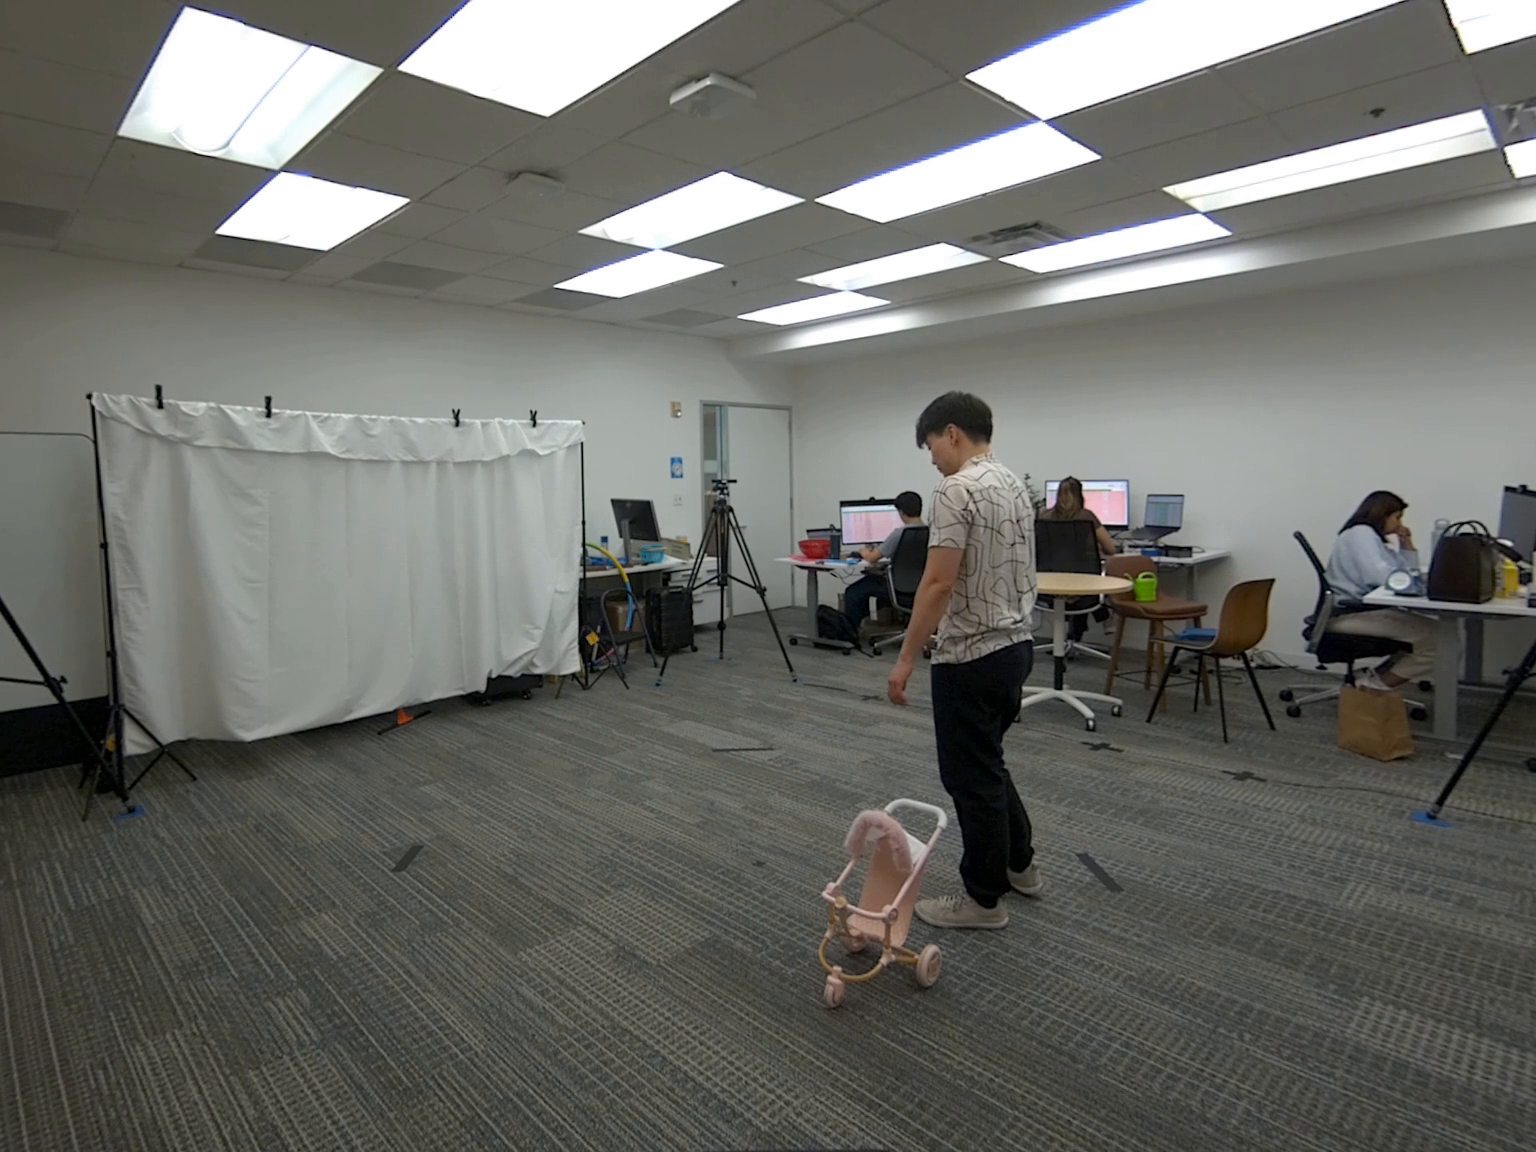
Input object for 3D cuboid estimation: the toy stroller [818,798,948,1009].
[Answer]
[{"bbox_3d":[0.308,0.900,2.381,0.329,0.538,0.290,16,-9,-40],"label":"toy stroller"}]
